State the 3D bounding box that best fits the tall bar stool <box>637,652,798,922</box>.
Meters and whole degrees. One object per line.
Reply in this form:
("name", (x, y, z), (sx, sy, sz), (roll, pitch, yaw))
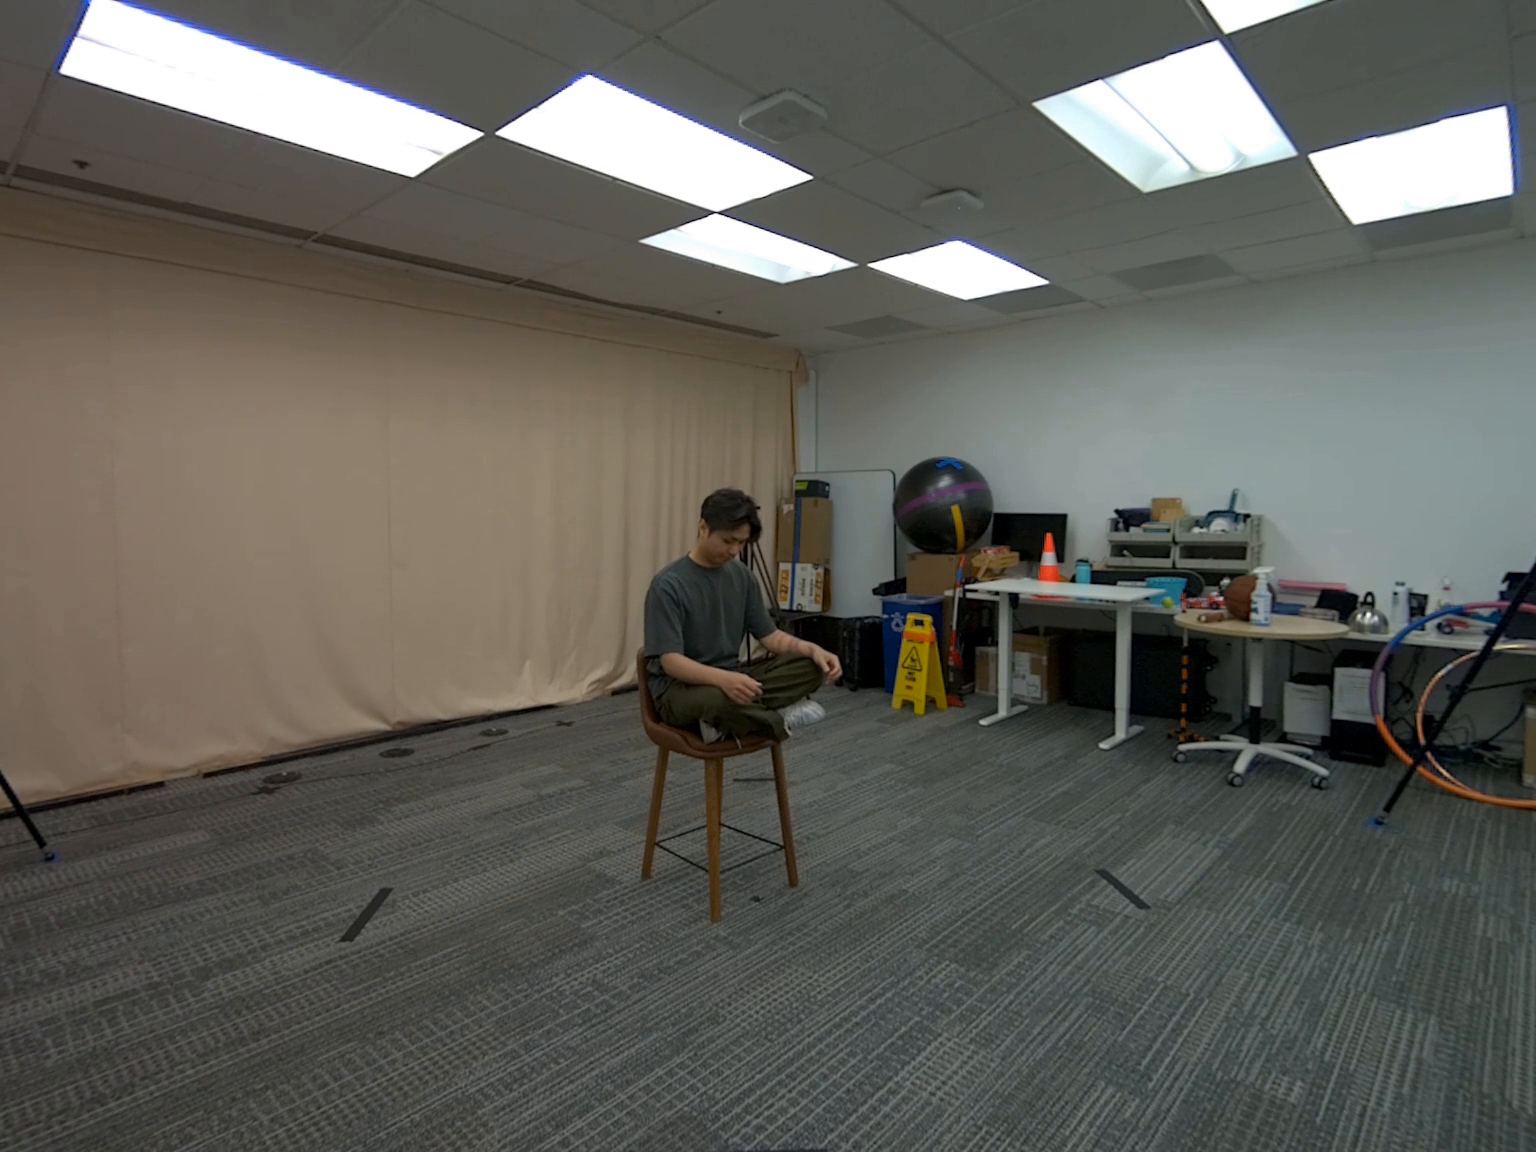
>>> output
("tall bar stool", (-0.197, 0.700, 3.103), (0.442, 0.889, 0.482), (-4, 2, -43))
